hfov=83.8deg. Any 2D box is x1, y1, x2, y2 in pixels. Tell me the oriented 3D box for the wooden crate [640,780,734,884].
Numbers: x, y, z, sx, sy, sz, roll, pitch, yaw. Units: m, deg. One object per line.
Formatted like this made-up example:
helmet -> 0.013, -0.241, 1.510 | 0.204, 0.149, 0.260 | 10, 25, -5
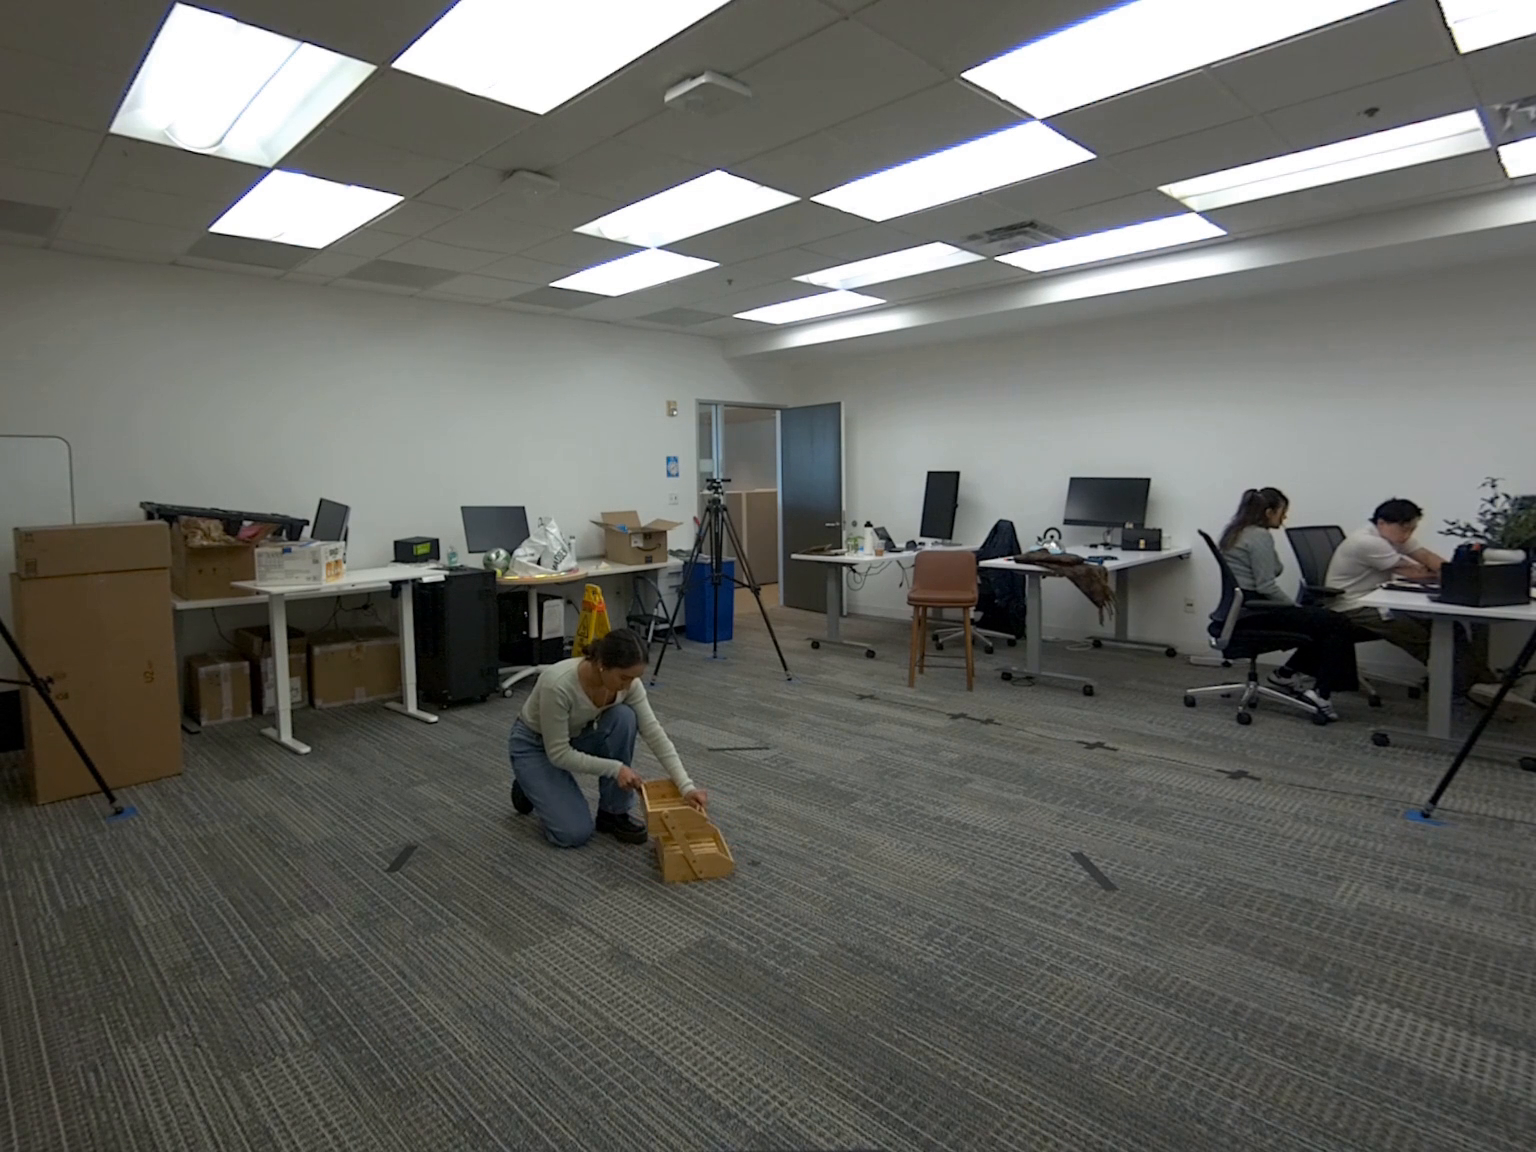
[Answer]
wooden crate -> -0.292, 0.914, 3.119 | 0.299, 0.272, 0.329 | -2, 5, -12
